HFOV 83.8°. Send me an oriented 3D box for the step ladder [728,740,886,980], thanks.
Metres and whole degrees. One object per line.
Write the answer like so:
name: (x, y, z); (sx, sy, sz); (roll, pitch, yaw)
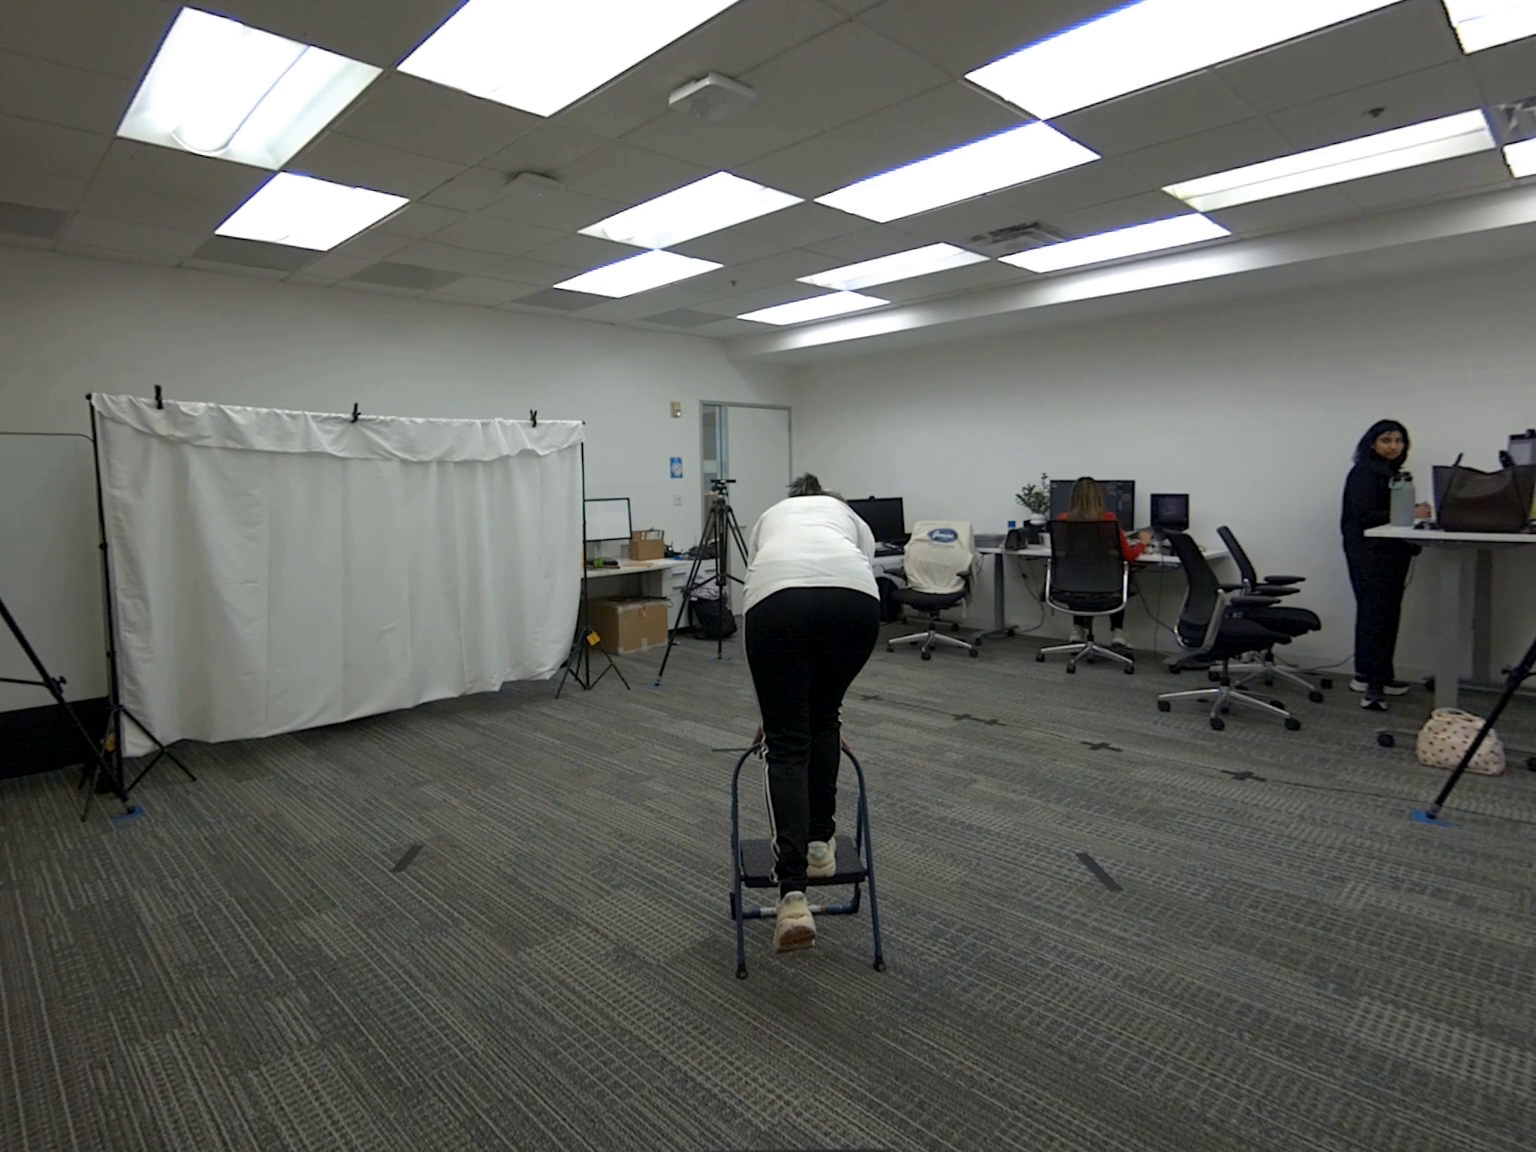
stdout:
step ladder: (0.102, 0.810, 2.565); (0.429, 0.604, 0.352); (-2, 4, -4)
